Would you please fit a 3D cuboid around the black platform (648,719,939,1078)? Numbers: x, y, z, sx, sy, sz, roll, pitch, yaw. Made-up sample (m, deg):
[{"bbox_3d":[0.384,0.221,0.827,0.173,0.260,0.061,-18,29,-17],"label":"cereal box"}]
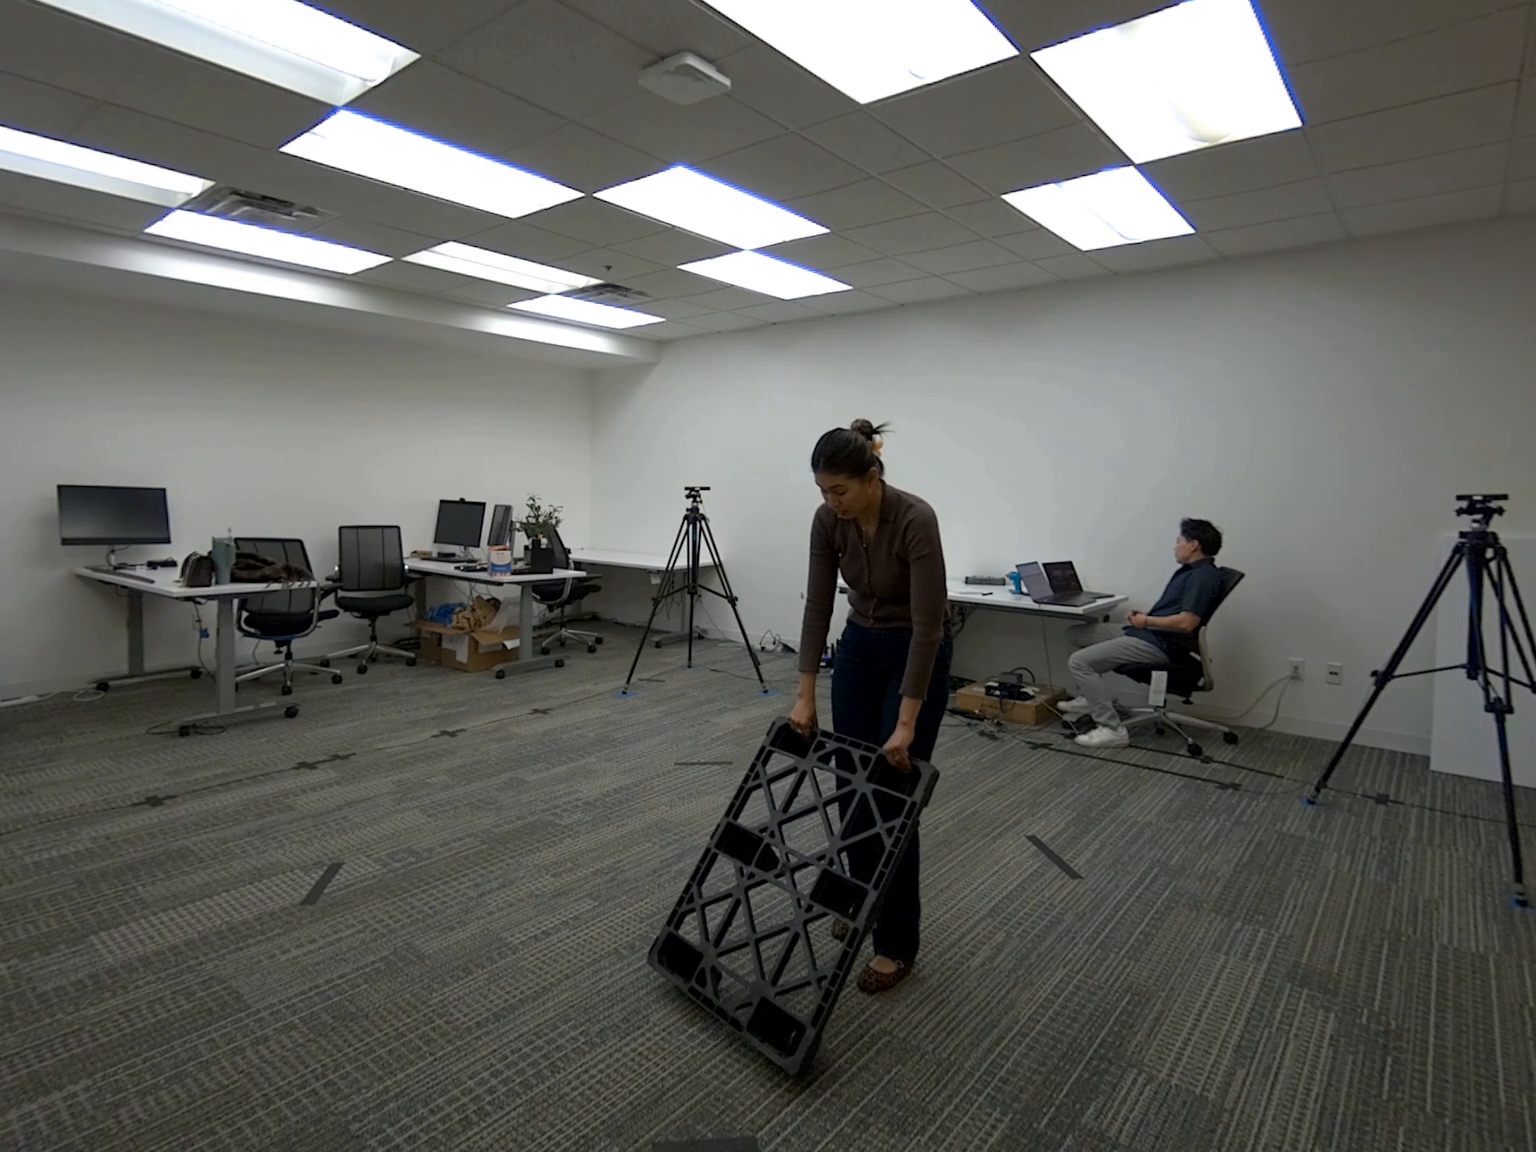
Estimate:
[{"bbox_3d":[0.079,0.818,2.330,0.627,0.810,0.137,8,-29,46],"label":"black platform"}]
